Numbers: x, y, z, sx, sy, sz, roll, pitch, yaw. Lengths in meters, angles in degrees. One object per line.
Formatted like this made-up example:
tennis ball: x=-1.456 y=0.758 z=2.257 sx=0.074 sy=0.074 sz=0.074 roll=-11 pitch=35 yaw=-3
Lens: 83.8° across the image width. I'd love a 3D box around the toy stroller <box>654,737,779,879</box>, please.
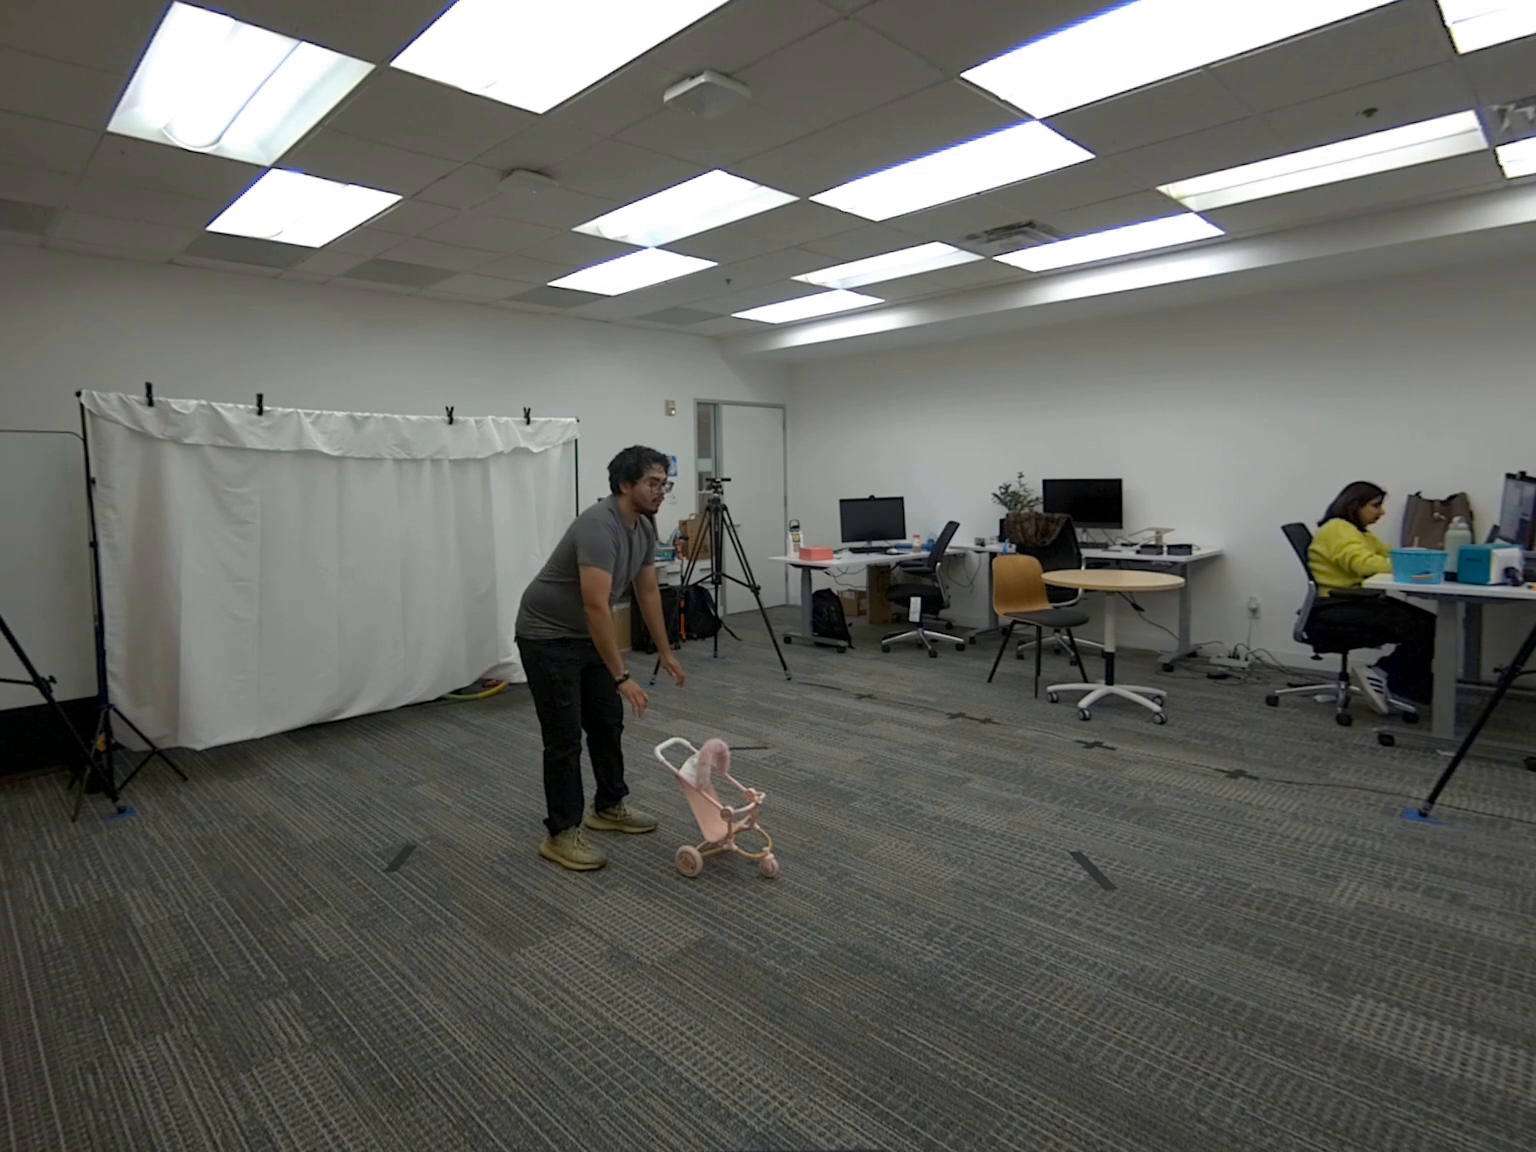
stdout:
toy stroller: x=-0.170 y=0.827 z=3.067 sx=0.347 sy=0.538 sz=0.275 roll=-18 pitch=-5 yaw=32
